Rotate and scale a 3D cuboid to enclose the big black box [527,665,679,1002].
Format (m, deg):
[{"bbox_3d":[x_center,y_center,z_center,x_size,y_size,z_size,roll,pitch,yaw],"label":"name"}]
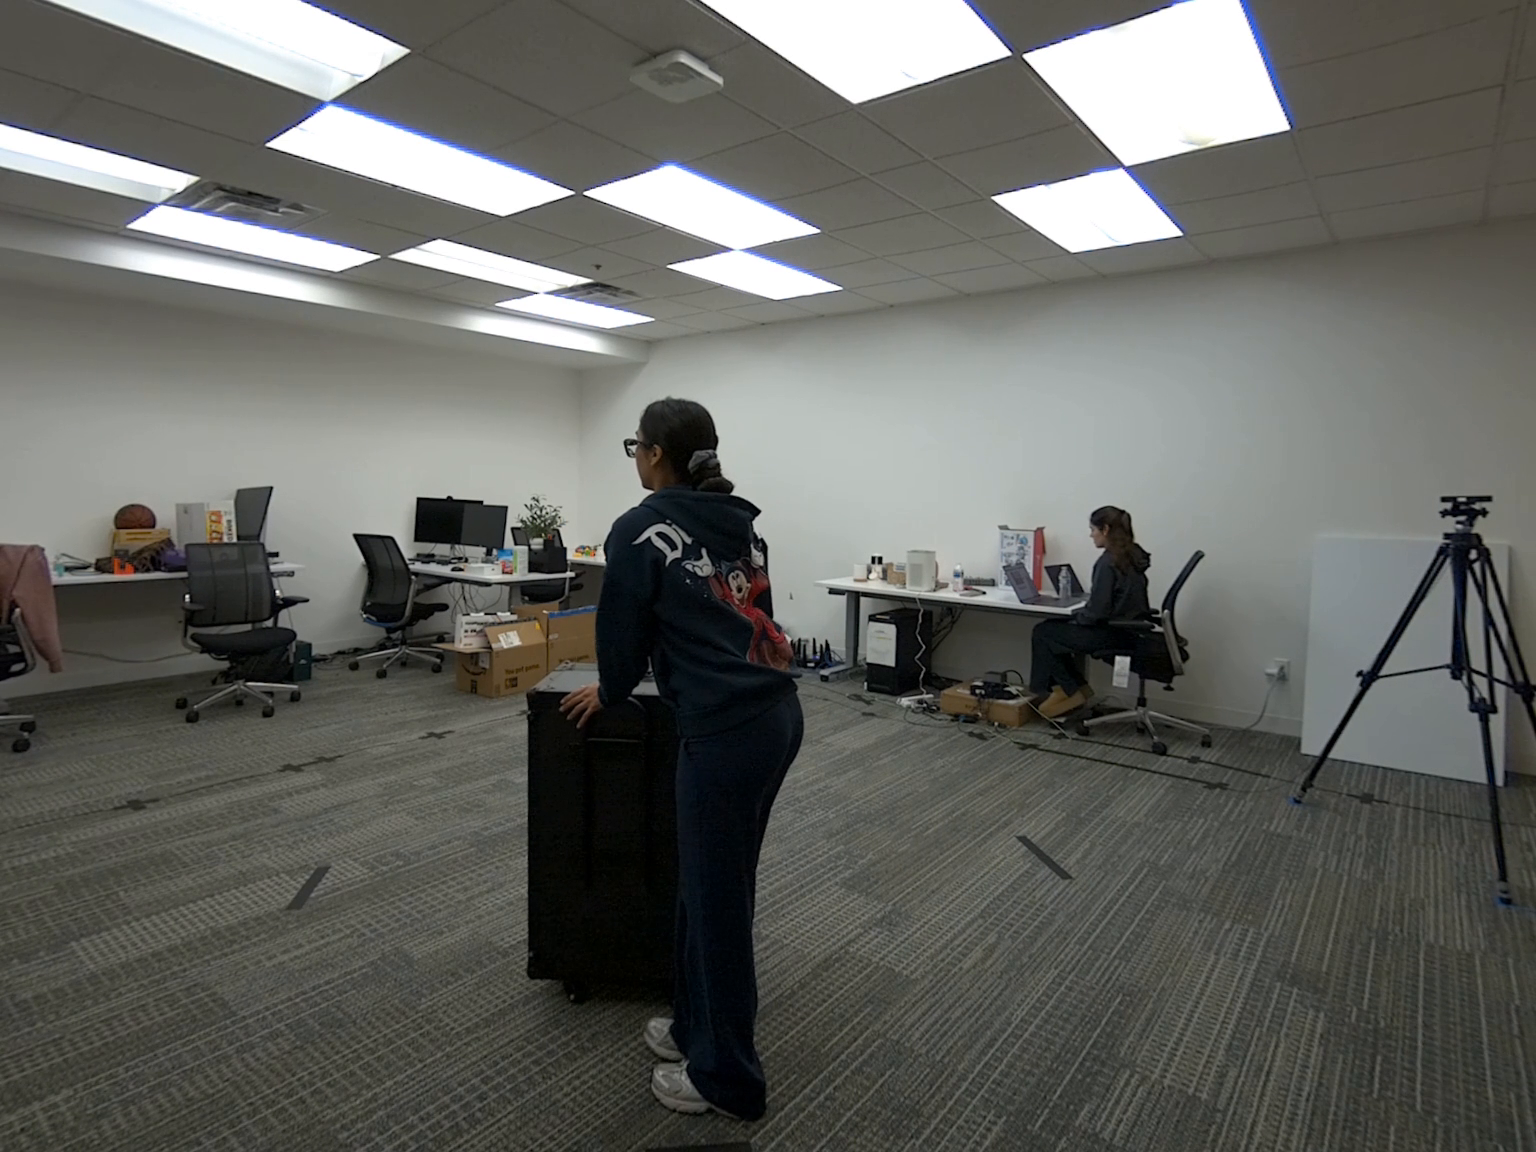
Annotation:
[{"bbox_3d":[-0.402,0.706,2.395,0.525,0.859,0.395,1,3,5],"label":"big black box"}]
